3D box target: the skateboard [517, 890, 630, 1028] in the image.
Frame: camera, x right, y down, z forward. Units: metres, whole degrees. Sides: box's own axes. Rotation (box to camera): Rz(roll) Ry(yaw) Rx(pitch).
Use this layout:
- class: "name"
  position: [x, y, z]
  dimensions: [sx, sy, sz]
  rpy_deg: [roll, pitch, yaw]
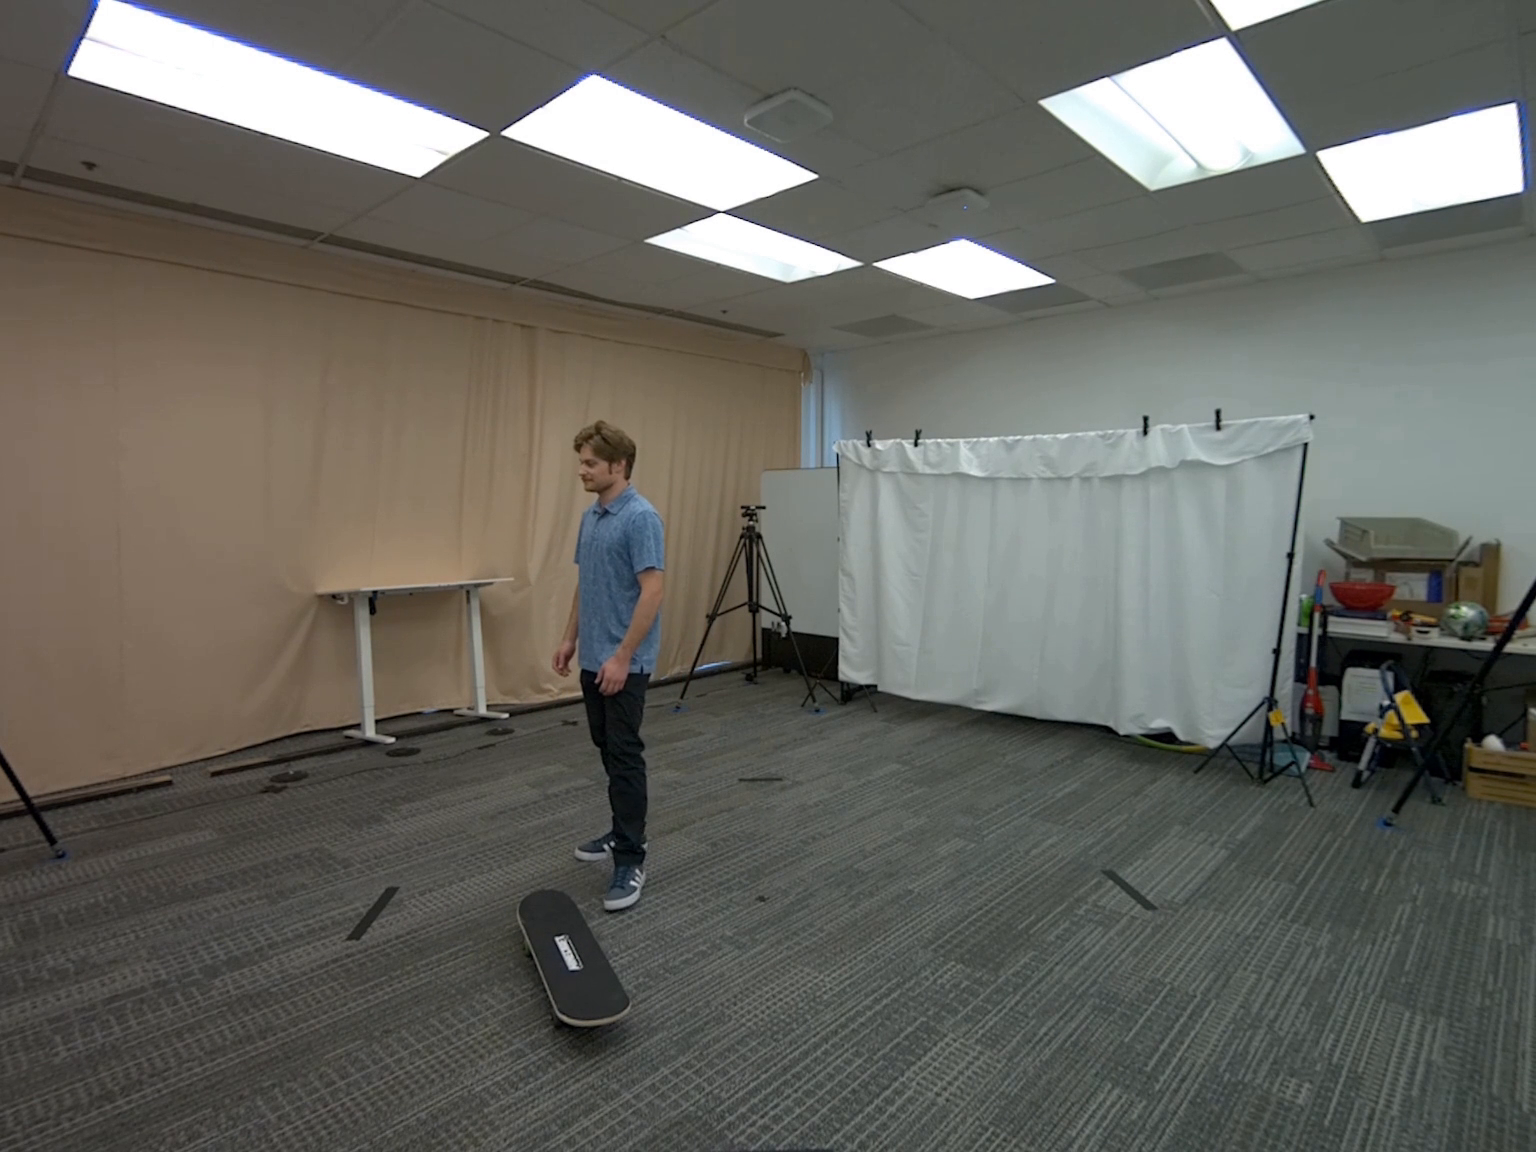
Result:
- class: "skateboard"
  position: [-0.583, 1.131, 2.472]
  dimensions: [0.189, 0.110, 0.806]
  rpy_deg: [-2, 4, -25]
